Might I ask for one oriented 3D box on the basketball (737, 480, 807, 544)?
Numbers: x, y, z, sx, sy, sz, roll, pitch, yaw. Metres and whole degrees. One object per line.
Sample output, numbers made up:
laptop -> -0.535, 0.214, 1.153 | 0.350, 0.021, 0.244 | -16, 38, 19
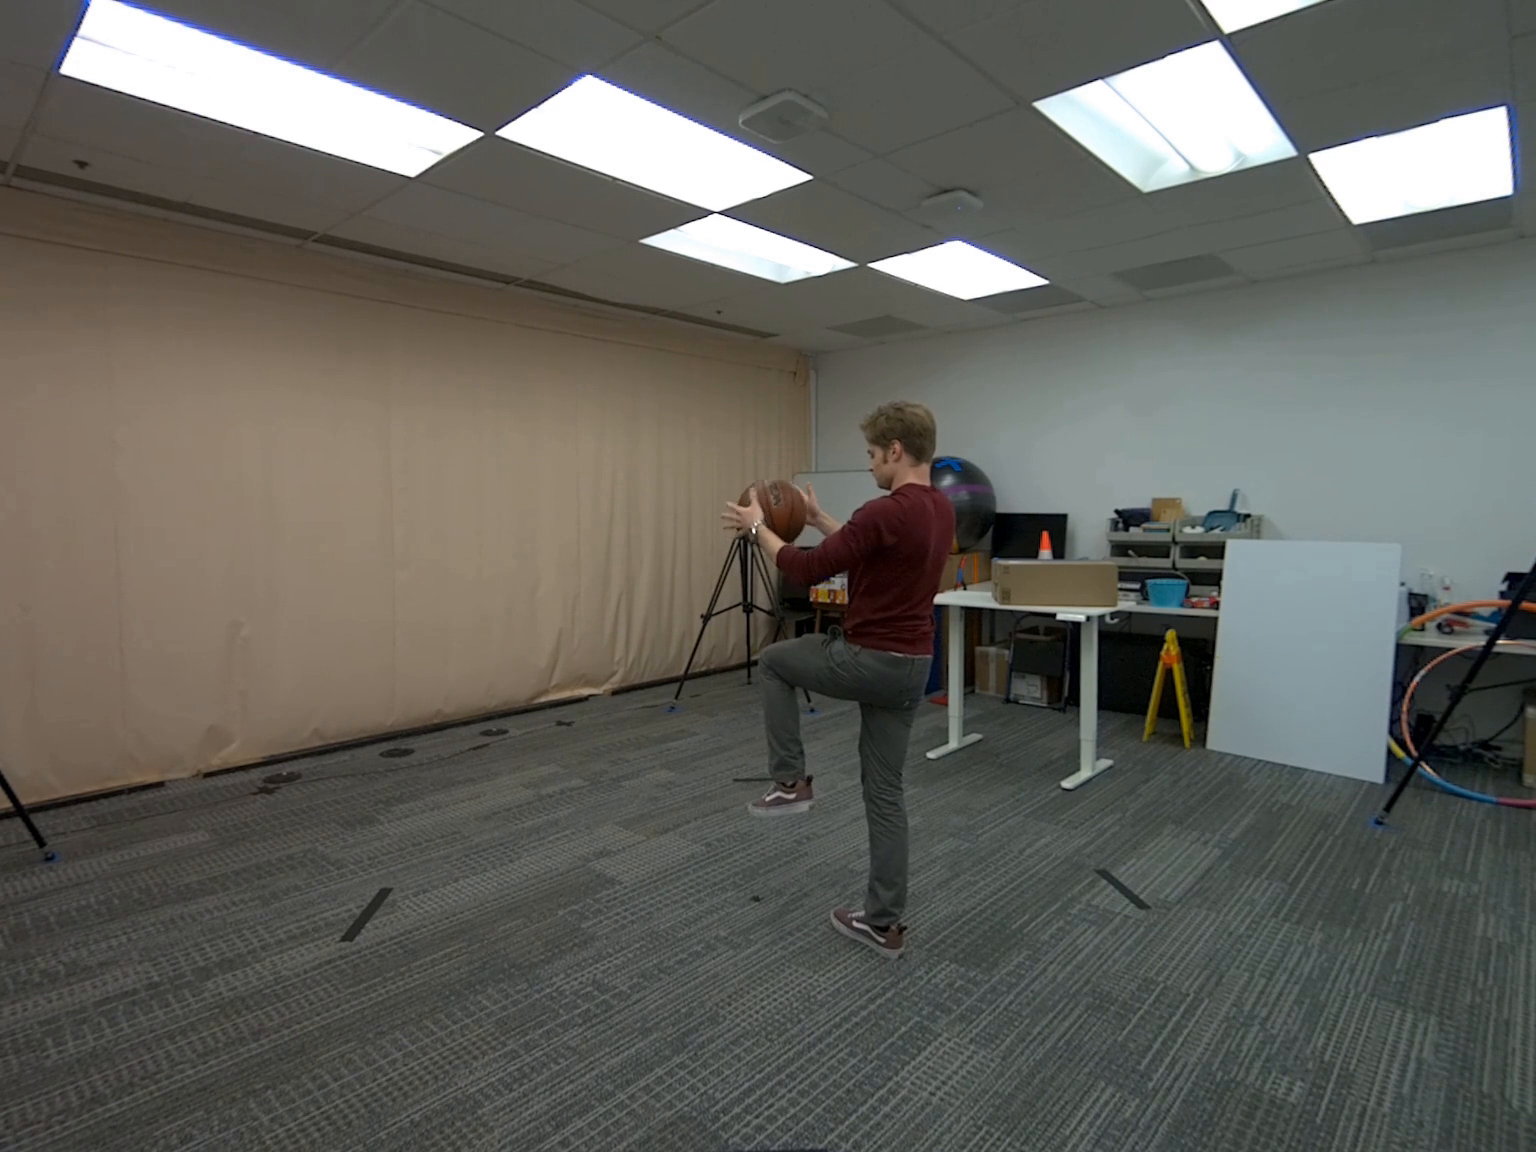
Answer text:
basketball -> 0.019, -0.193, 2.845 | 0.236, 0.235, 0.237 | 0, 4, -2
